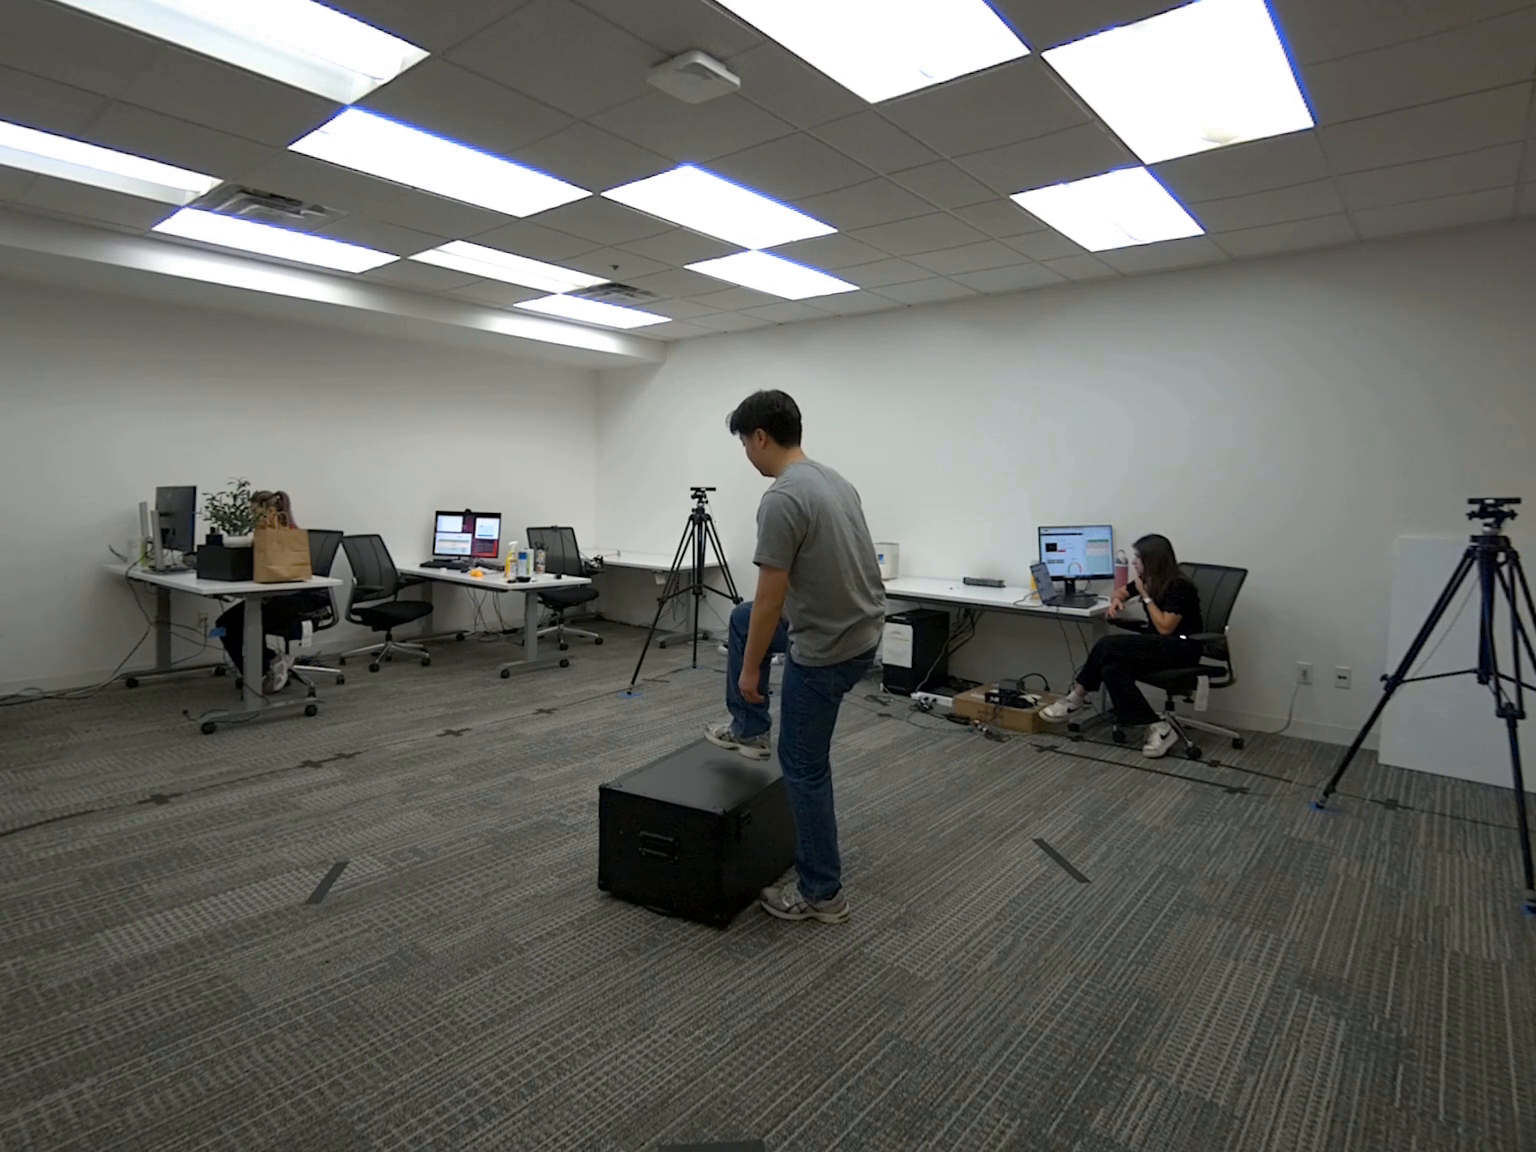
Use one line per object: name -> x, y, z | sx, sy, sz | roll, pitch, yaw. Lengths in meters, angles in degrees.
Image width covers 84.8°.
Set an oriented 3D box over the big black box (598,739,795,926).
big black box -> -0.183, 0.873, 3.116 | 0.535, 0.395, 0.841 | 3, 6, 26
